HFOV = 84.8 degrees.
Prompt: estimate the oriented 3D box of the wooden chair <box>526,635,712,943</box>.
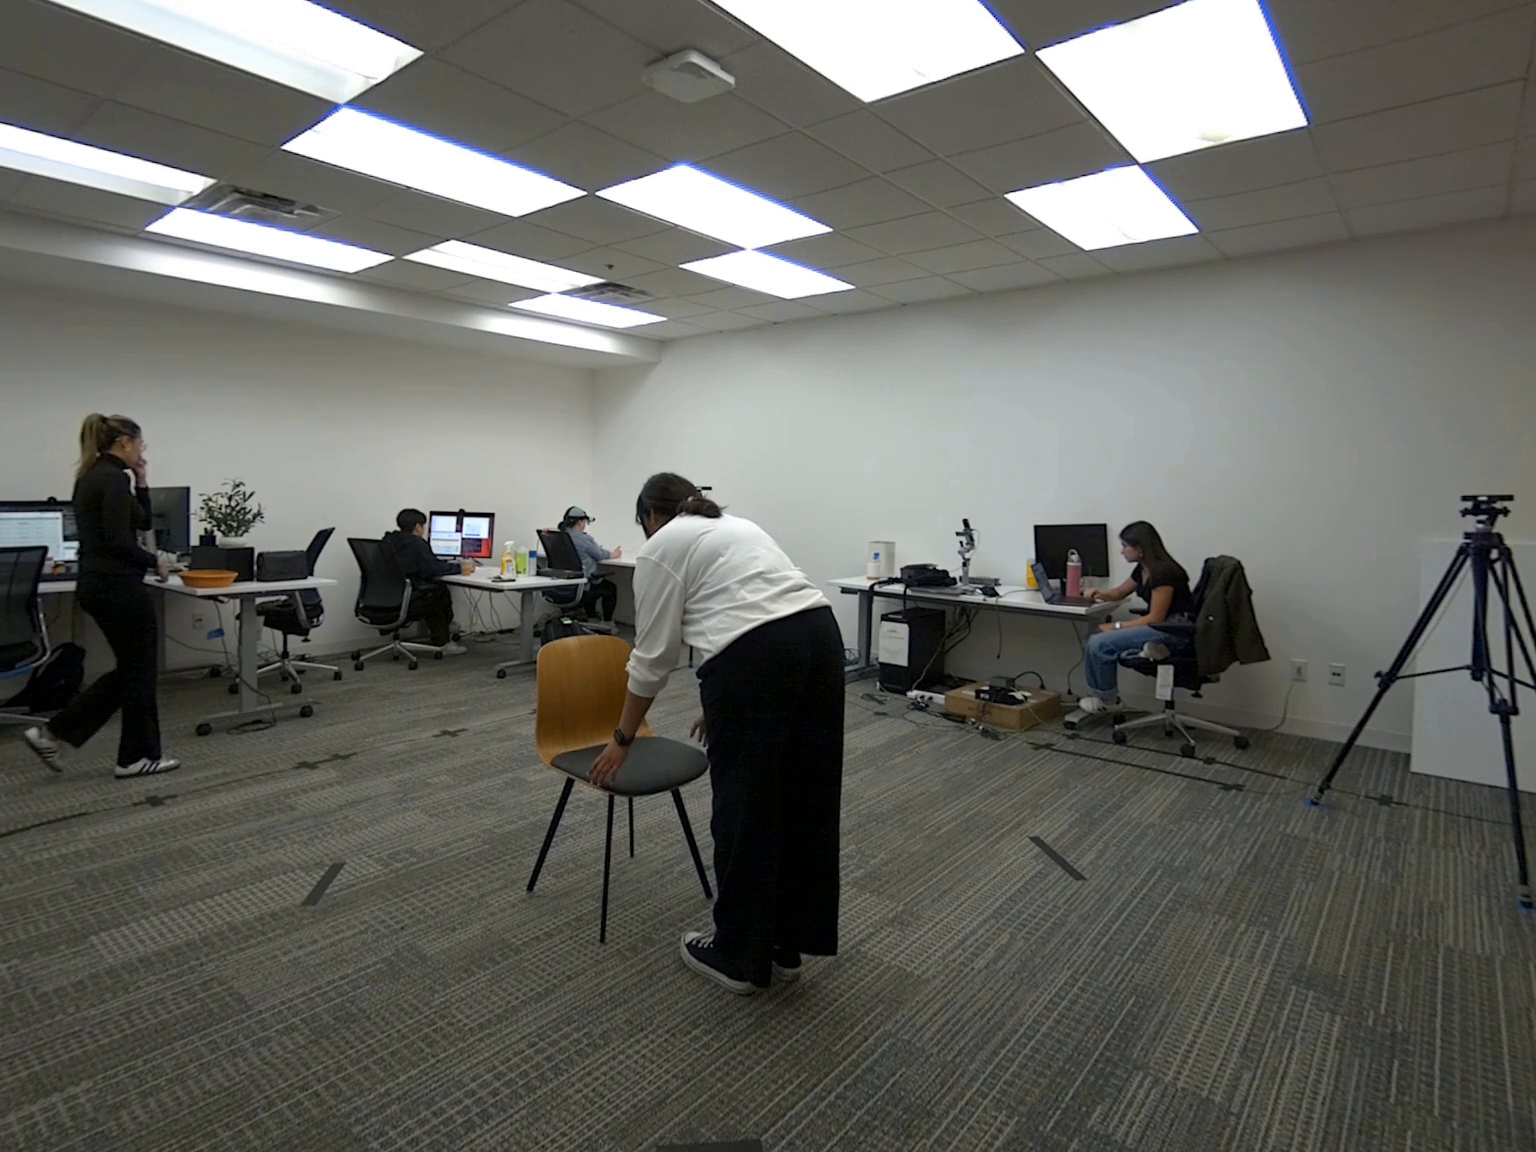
[{"bbox_3d":[-0.495,0.655,2.864,0.463,0.878,0.539,-2,-1,-44],"label":"wooden chair"}]
